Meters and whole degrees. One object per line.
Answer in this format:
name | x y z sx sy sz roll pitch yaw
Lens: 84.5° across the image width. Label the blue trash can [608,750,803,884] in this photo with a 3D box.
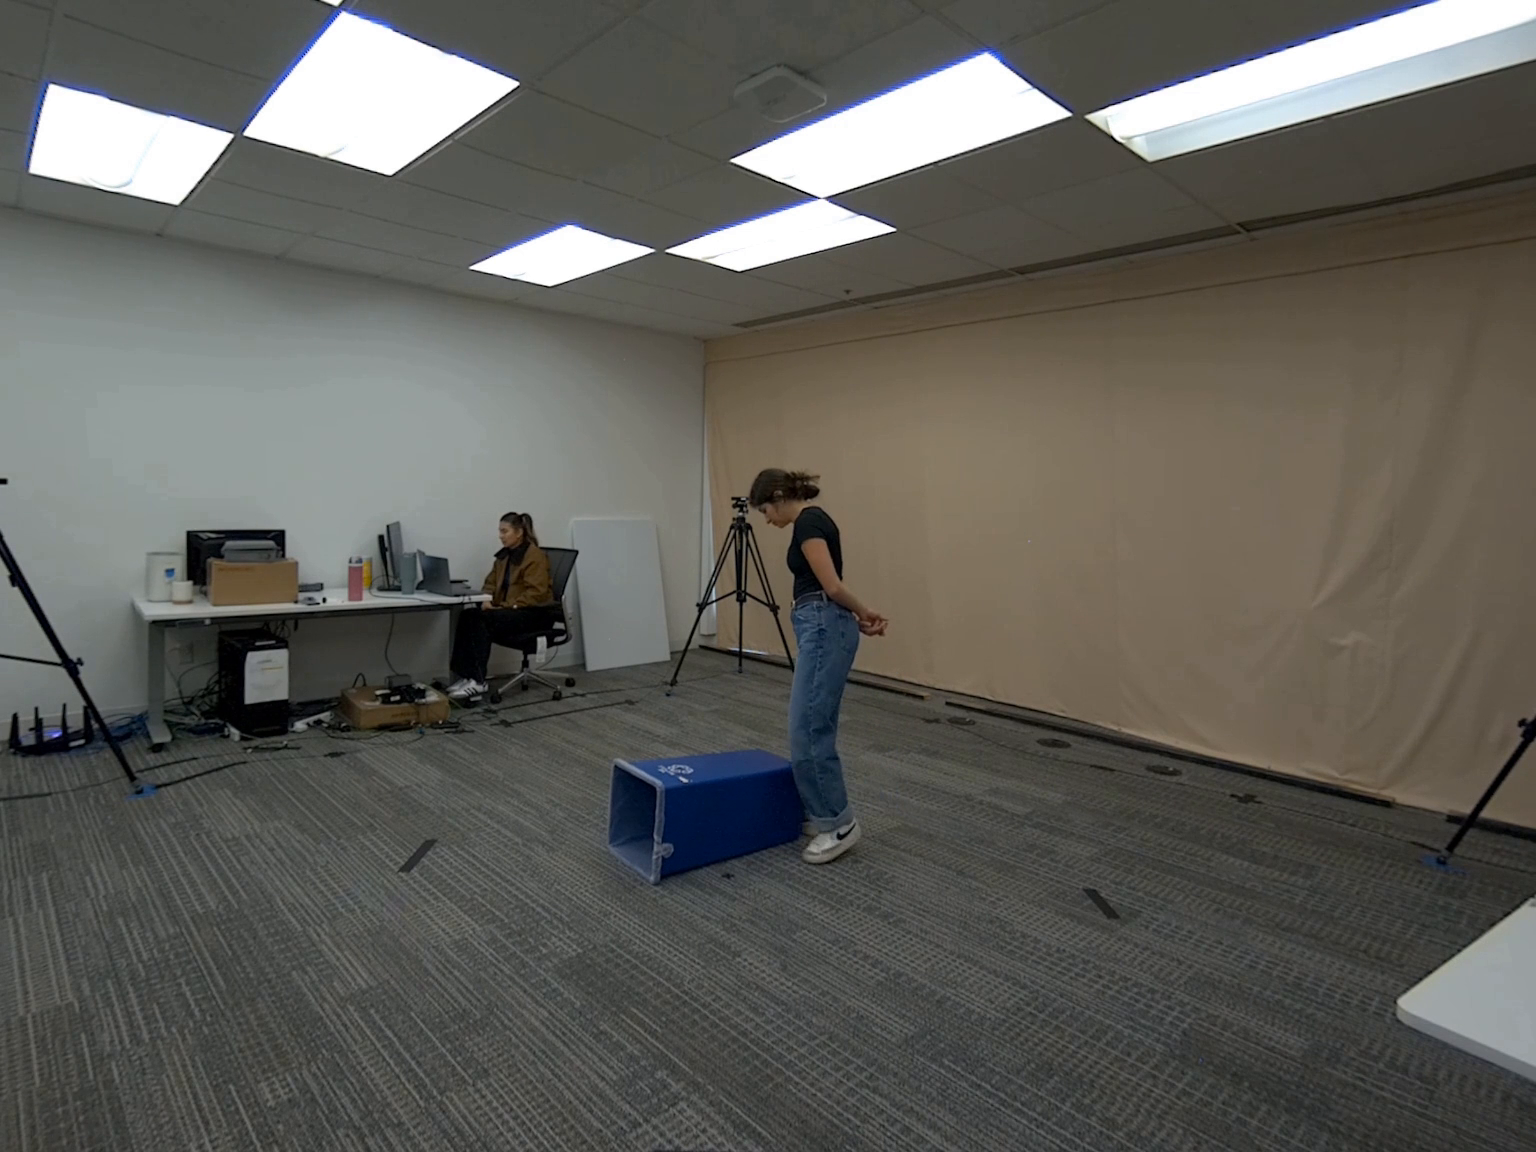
blue trash can | -0.243 0.916 3.349 0.697 0.377 0.383 2 3 -38
